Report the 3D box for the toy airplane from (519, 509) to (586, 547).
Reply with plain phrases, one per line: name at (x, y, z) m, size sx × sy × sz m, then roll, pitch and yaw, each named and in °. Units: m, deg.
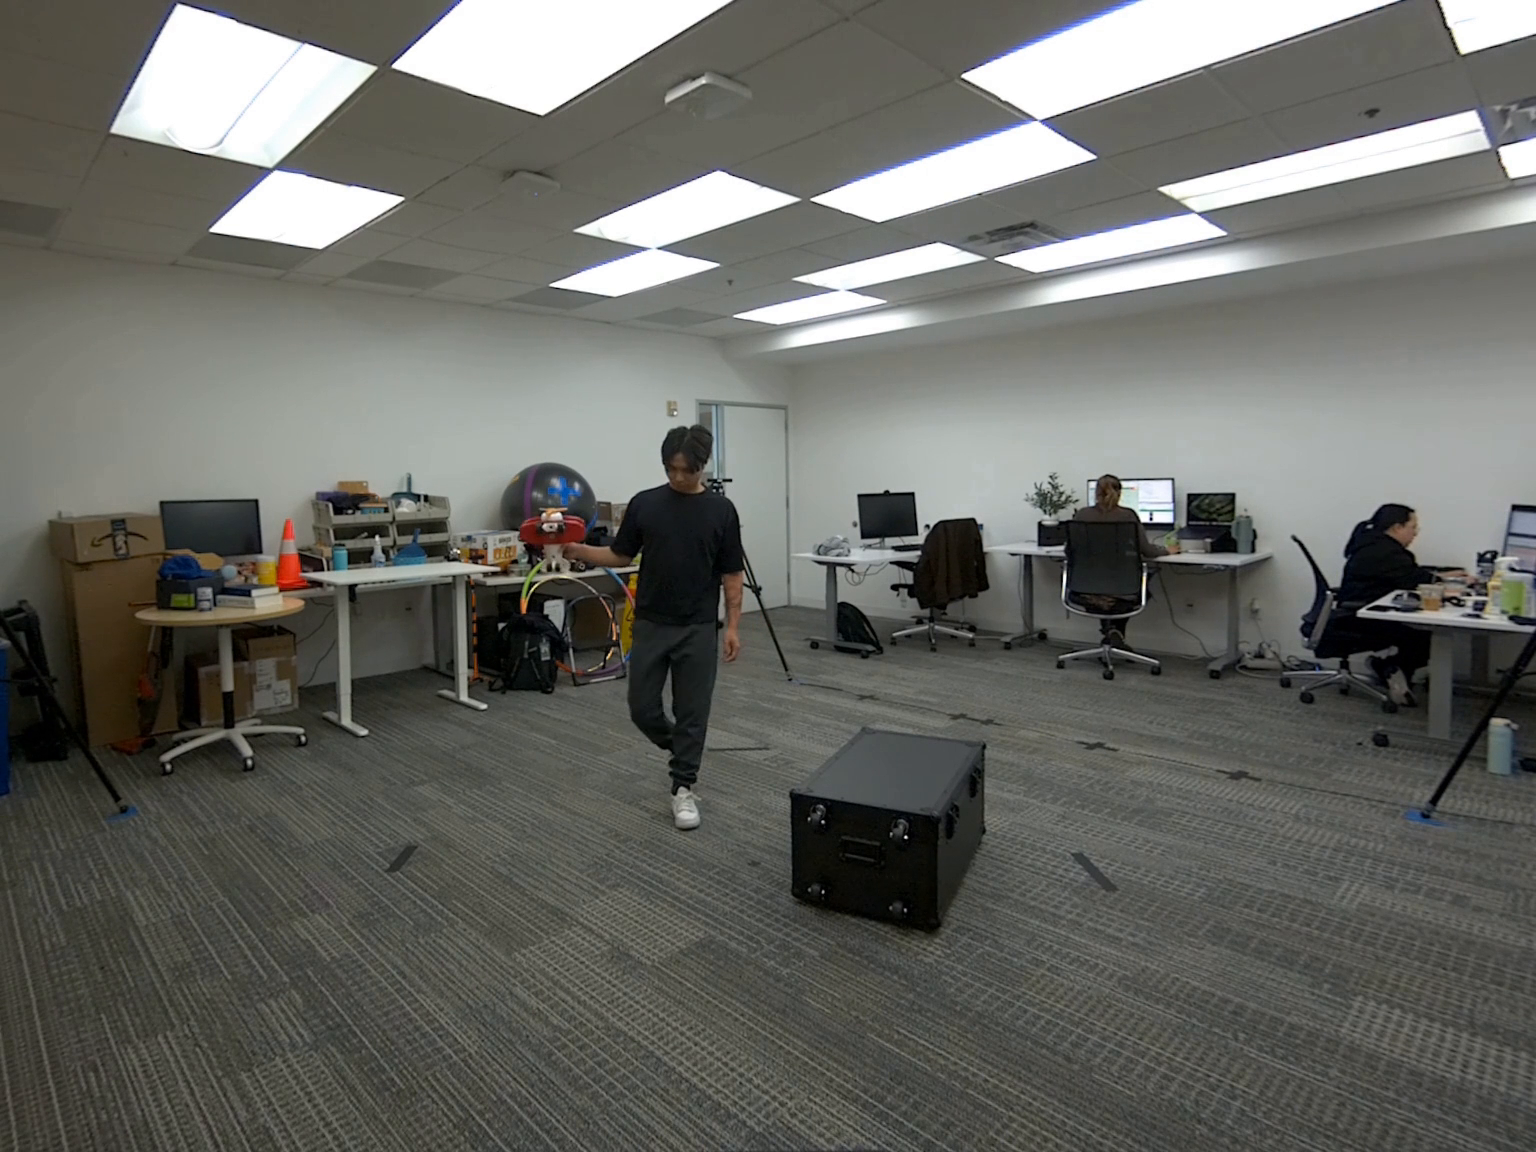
toy airplane at (-0.886, -0.143, 3.452) m, size 0.246 × 0.257 × 0.160 m, roll 24°, pitch 25°, yaw -17°
